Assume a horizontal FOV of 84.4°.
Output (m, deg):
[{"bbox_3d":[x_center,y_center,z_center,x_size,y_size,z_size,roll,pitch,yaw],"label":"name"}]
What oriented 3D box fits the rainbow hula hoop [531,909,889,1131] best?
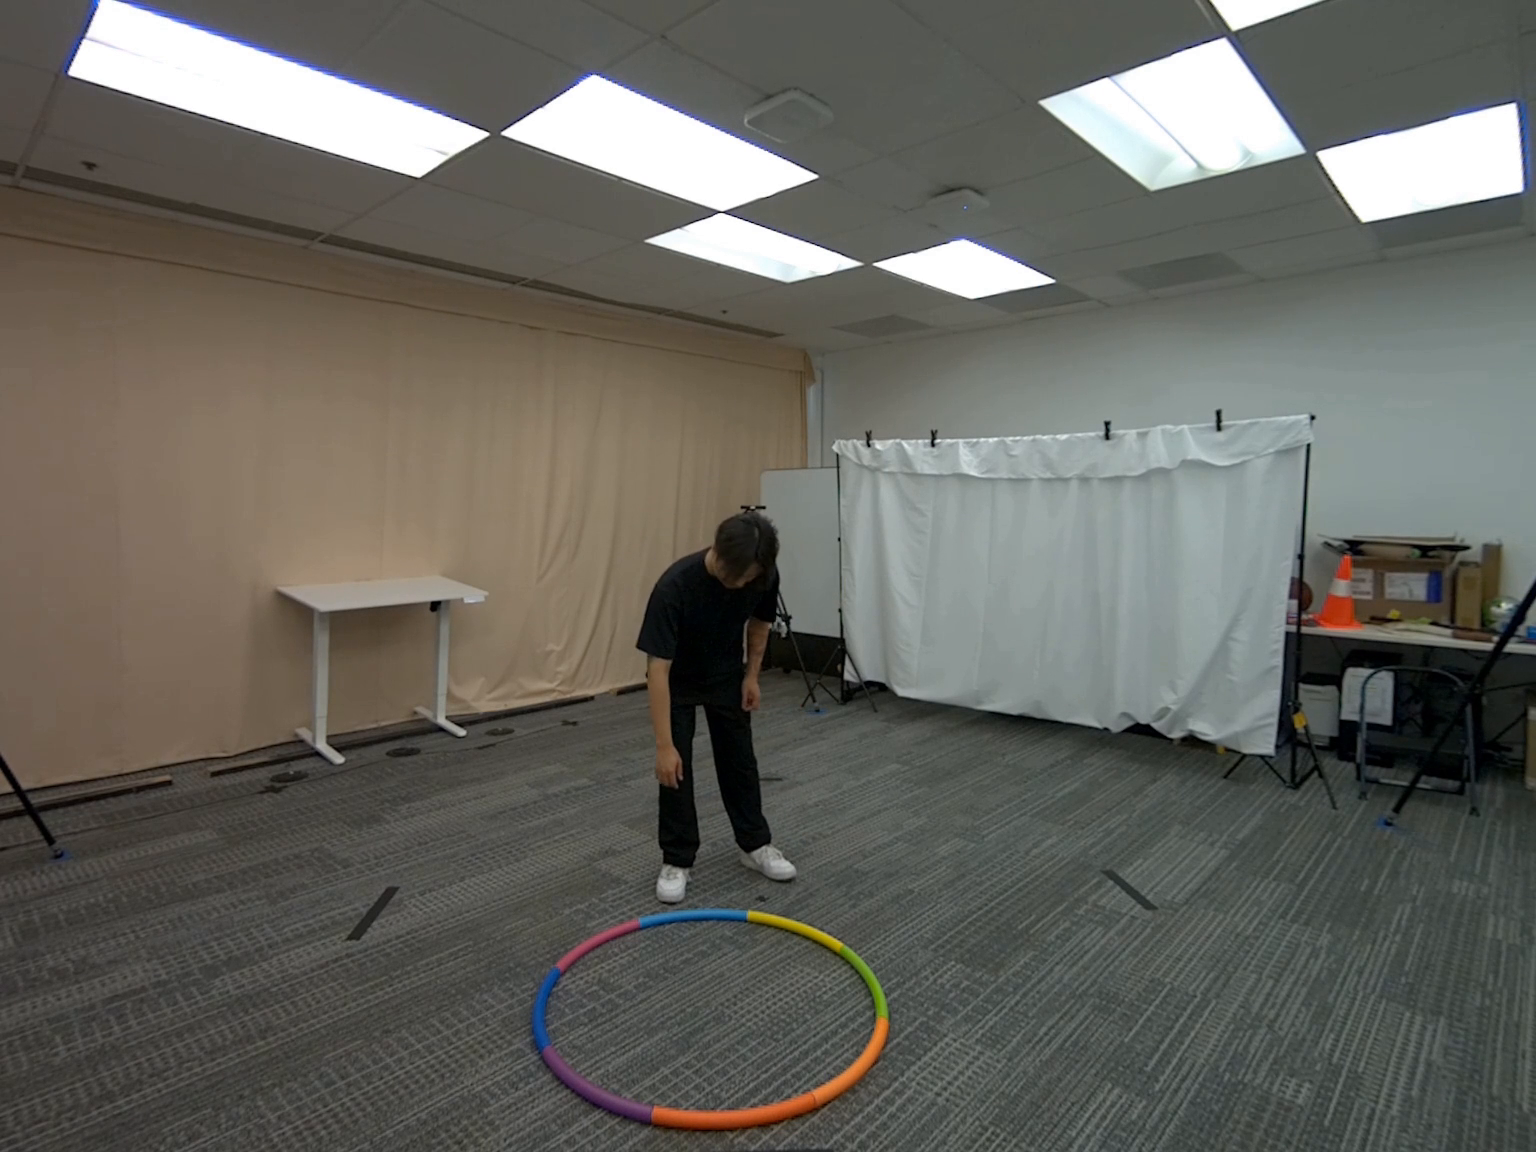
[{"bbox_3d":[-0.156,1.169,2.364,0.978,0.035,0.982,0,5,-2],"label":"rainbow hula hoop"}]
